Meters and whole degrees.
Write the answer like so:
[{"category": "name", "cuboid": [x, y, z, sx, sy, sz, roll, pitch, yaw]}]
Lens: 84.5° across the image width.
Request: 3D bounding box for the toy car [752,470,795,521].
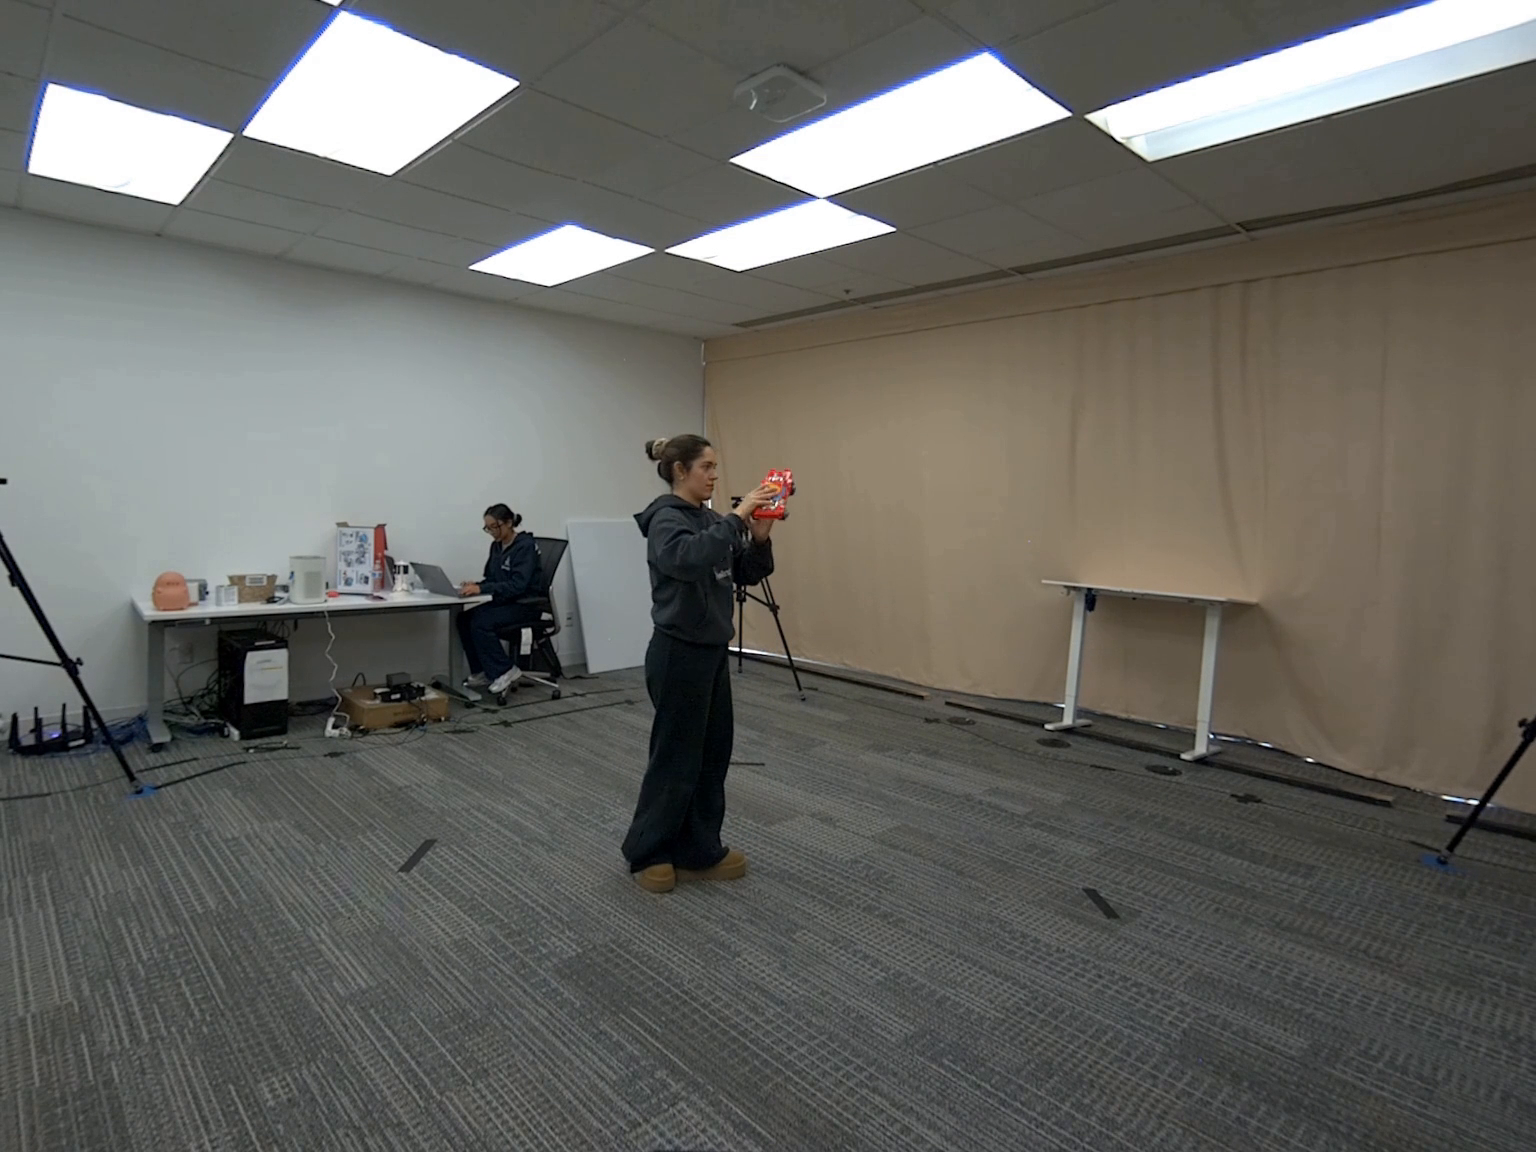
[{"category": "toy car", "cuboid": [0.001, -0.277, 2.877, 0.132, 0.258, 0.081, 2, -39, 17]}]
